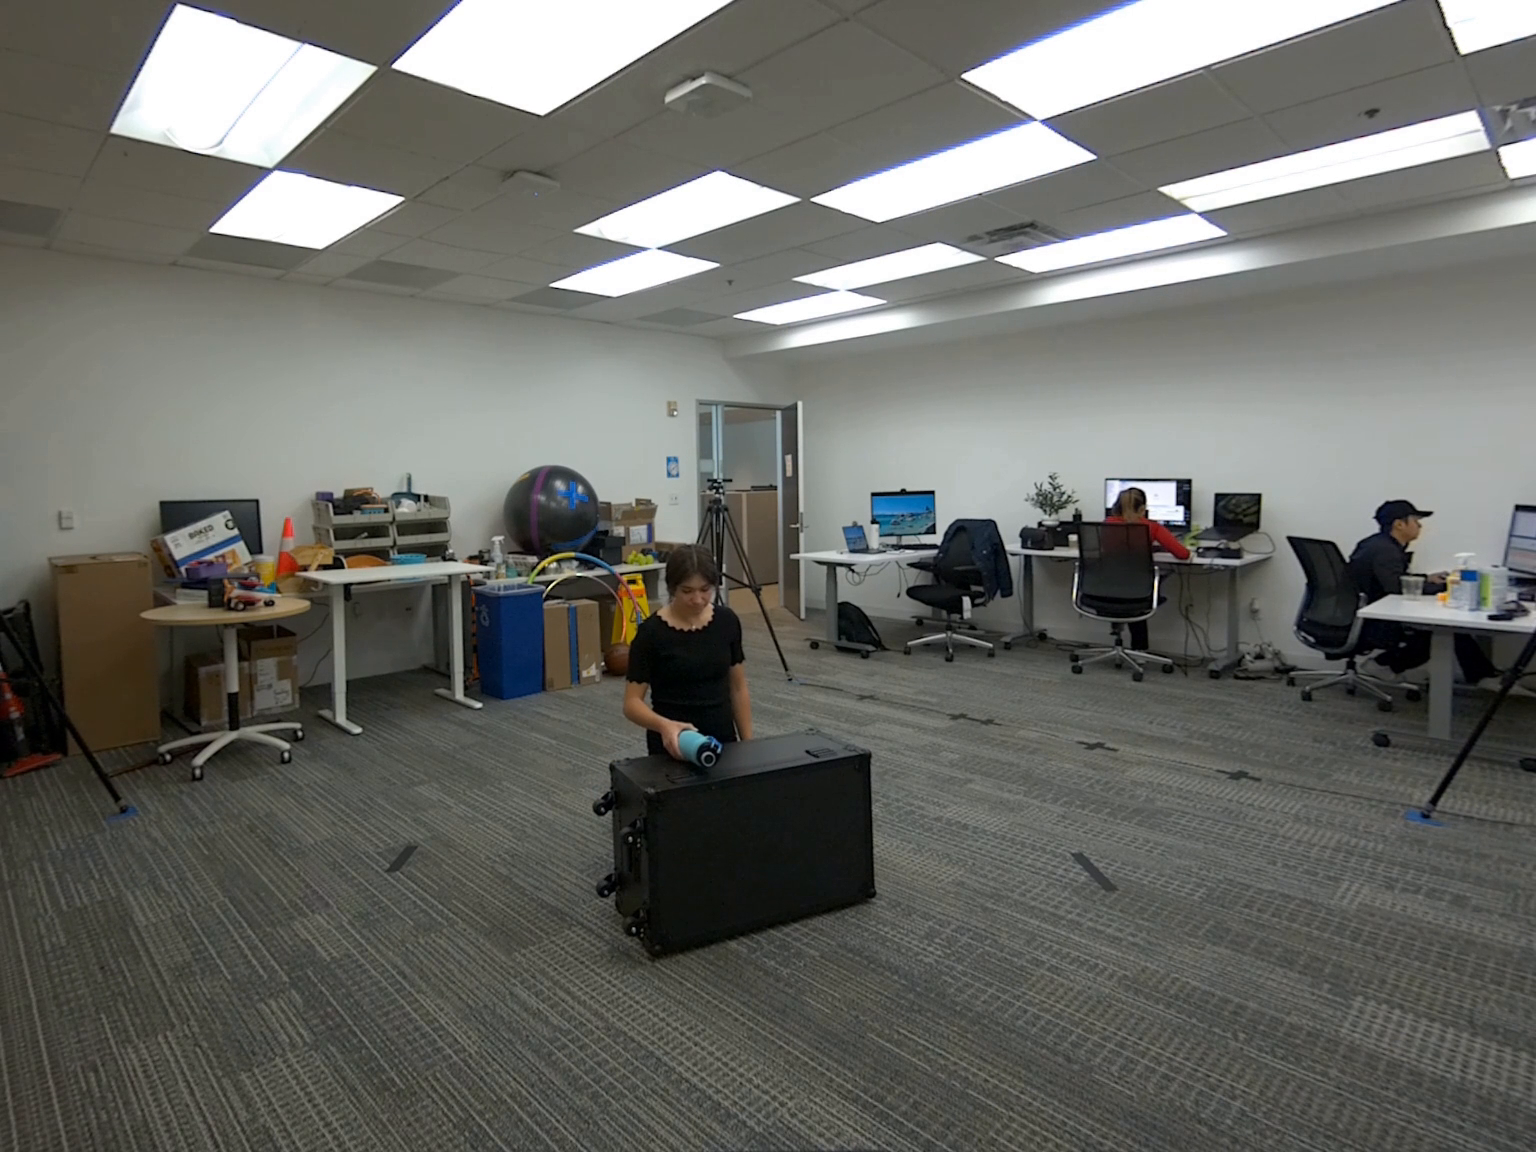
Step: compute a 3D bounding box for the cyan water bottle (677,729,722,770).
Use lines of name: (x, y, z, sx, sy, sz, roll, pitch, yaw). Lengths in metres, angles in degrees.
cyan water bottle: (-0.217, 0.550, 2.712, 0.091, 0.093, 0.286, -2, -3, -16)
